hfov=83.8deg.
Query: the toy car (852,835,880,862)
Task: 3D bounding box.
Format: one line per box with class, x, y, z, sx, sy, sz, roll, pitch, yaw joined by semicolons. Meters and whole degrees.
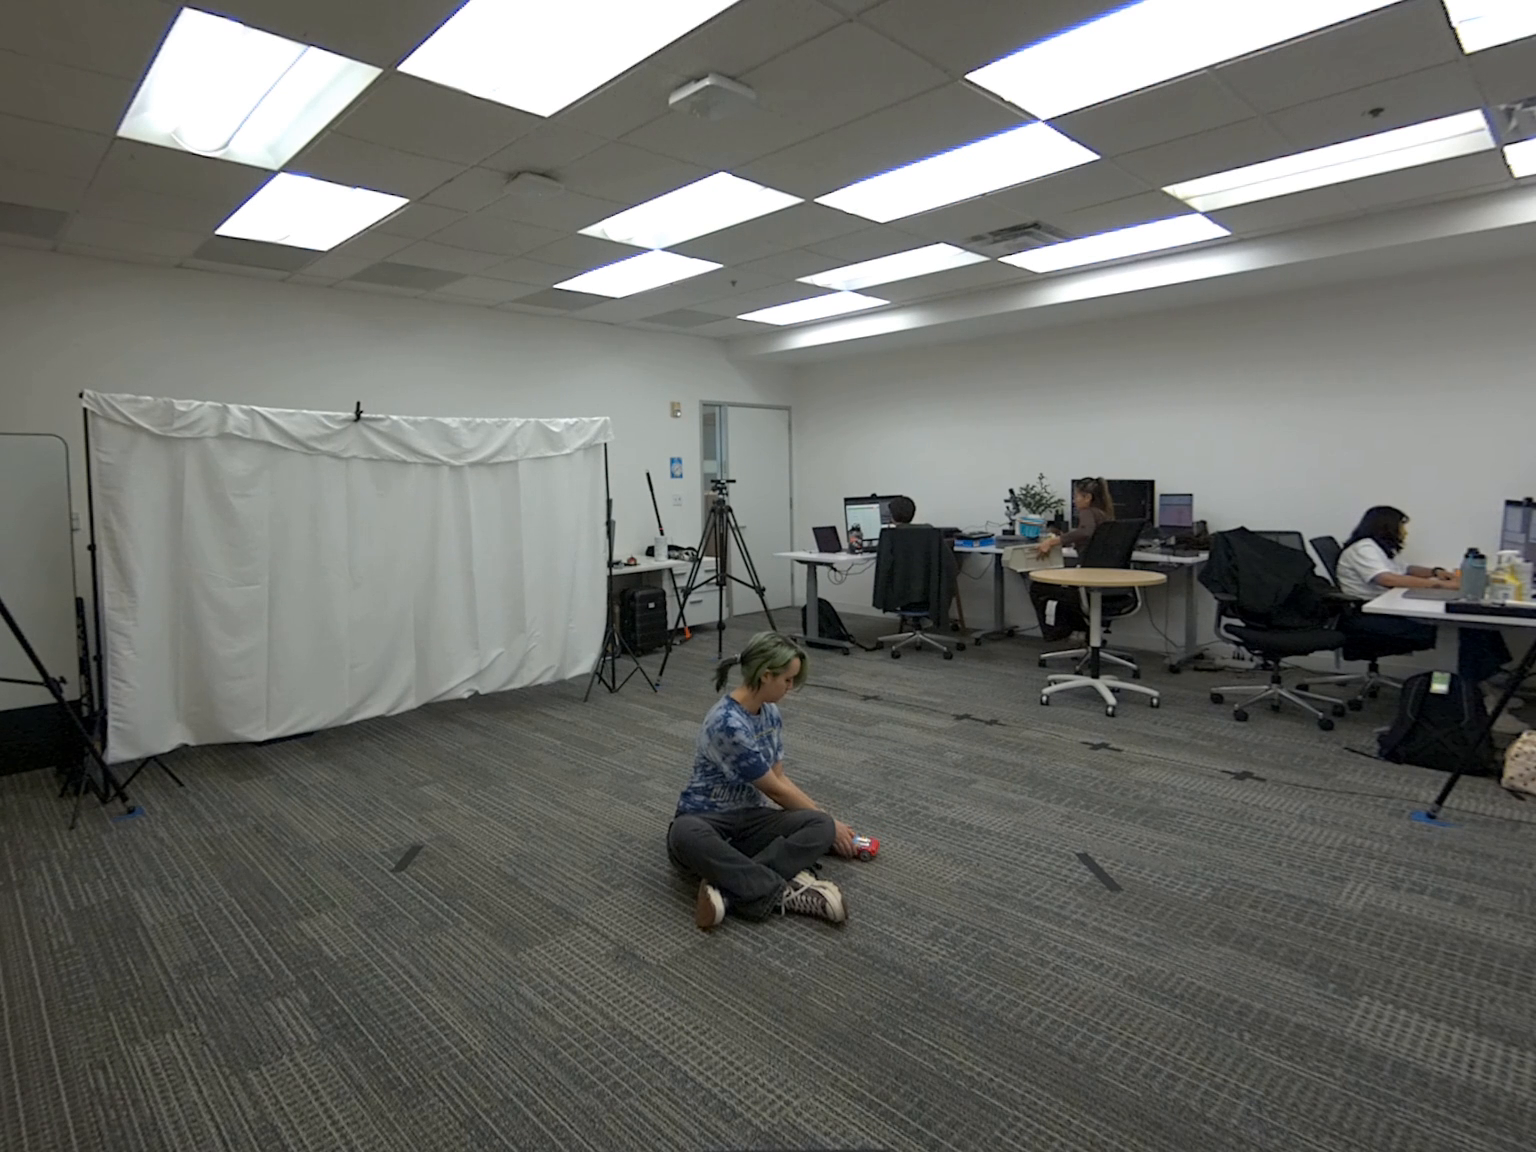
toy car;0.285;1.001;3.189;0.260;0.083;0.128;12;9;20
